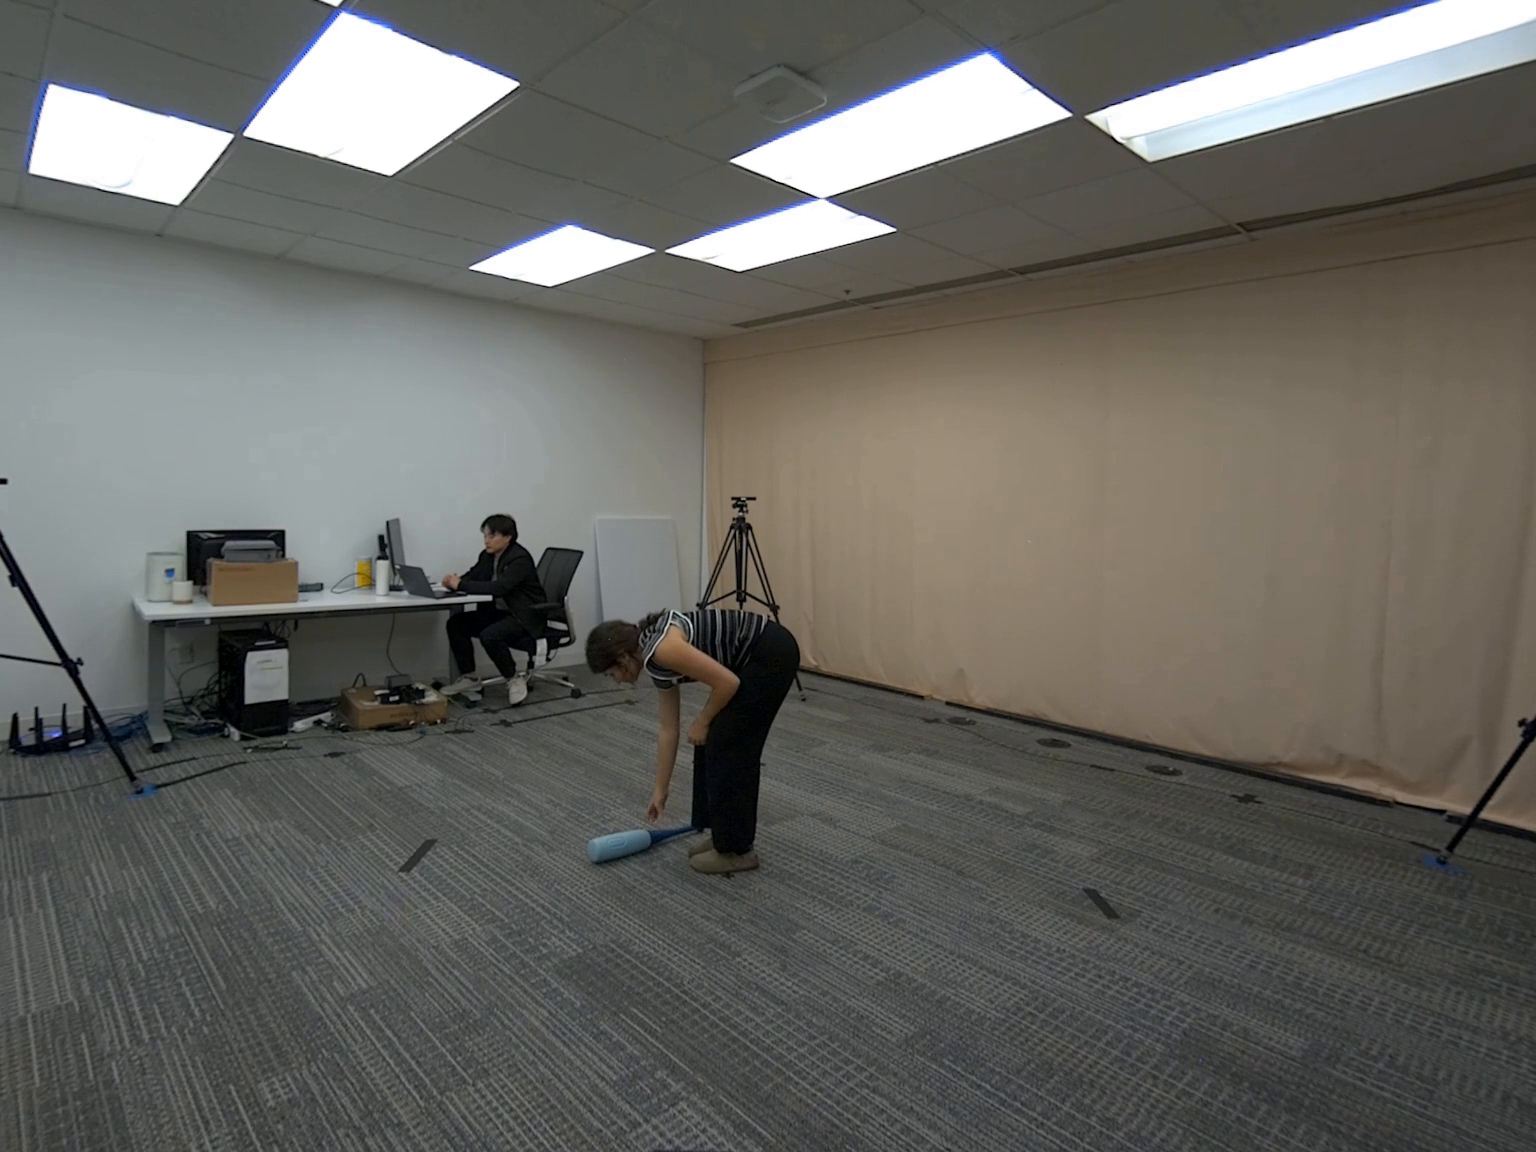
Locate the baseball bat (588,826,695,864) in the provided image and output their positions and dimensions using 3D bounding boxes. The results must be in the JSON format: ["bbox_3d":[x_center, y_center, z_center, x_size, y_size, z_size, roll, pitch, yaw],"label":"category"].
[{"bbox_3d":[-0.473,1.040,3.346,0.530,0.089,0.091,1,3,-42],"label":"baseball bat"}]
